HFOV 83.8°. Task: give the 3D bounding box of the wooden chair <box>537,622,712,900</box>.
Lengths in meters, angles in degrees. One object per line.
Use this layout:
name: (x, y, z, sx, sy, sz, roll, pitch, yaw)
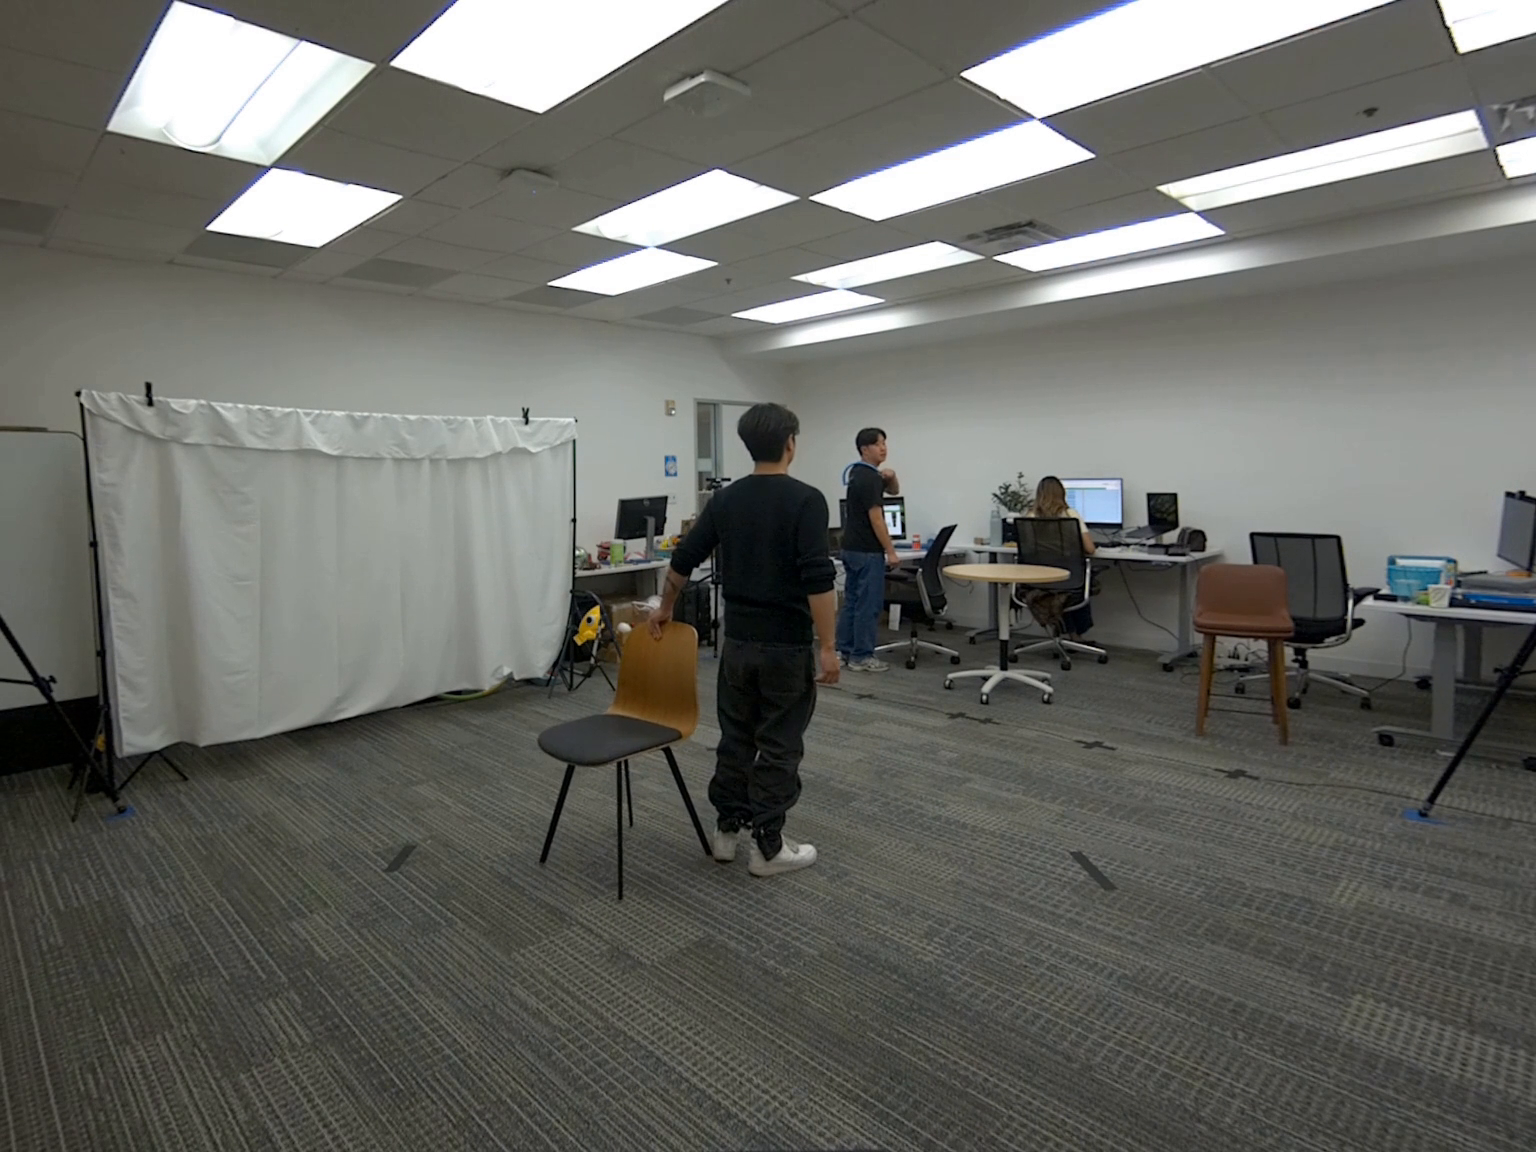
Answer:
wooden chair: (-0.538, 0.619, 3.118, 0.492, 0.877, 0.508, 2, 1, 41)
